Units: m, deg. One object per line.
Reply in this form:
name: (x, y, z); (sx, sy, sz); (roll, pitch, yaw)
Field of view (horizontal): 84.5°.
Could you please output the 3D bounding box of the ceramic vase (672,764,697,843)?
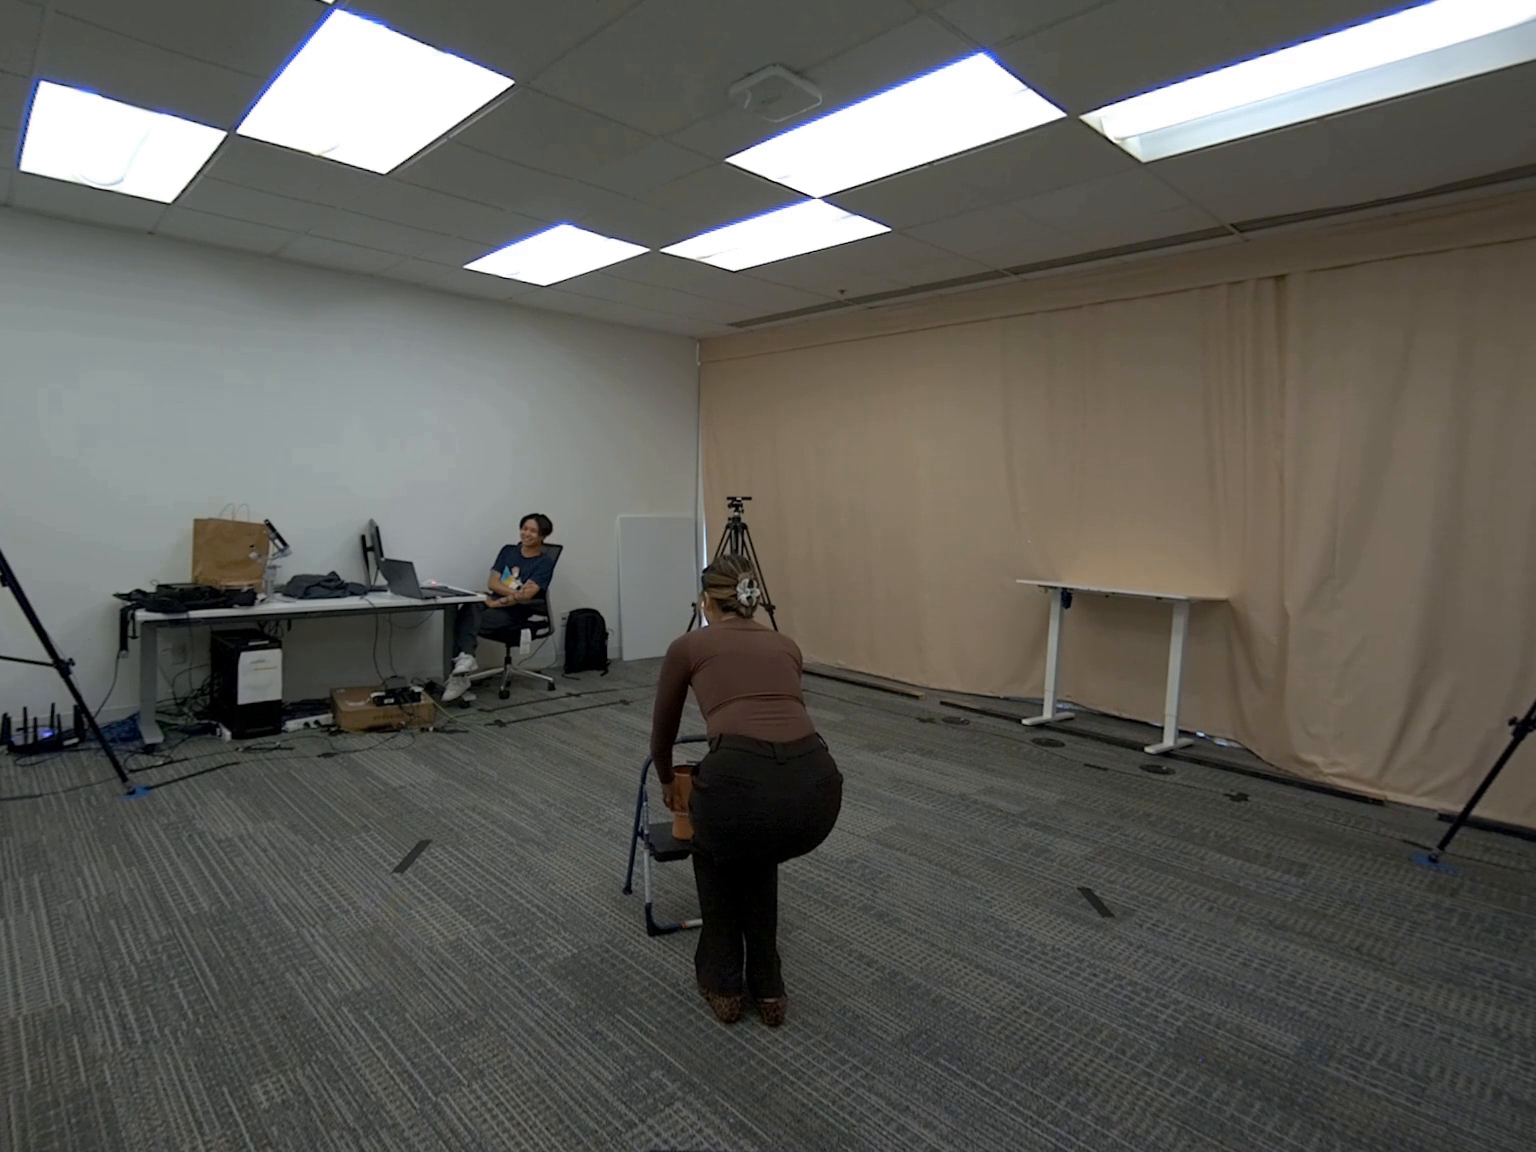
ceramic vase: (-0.276, 0.756, 2.815); (0.135, 0.219, 0.158); (1, 1, 3)
